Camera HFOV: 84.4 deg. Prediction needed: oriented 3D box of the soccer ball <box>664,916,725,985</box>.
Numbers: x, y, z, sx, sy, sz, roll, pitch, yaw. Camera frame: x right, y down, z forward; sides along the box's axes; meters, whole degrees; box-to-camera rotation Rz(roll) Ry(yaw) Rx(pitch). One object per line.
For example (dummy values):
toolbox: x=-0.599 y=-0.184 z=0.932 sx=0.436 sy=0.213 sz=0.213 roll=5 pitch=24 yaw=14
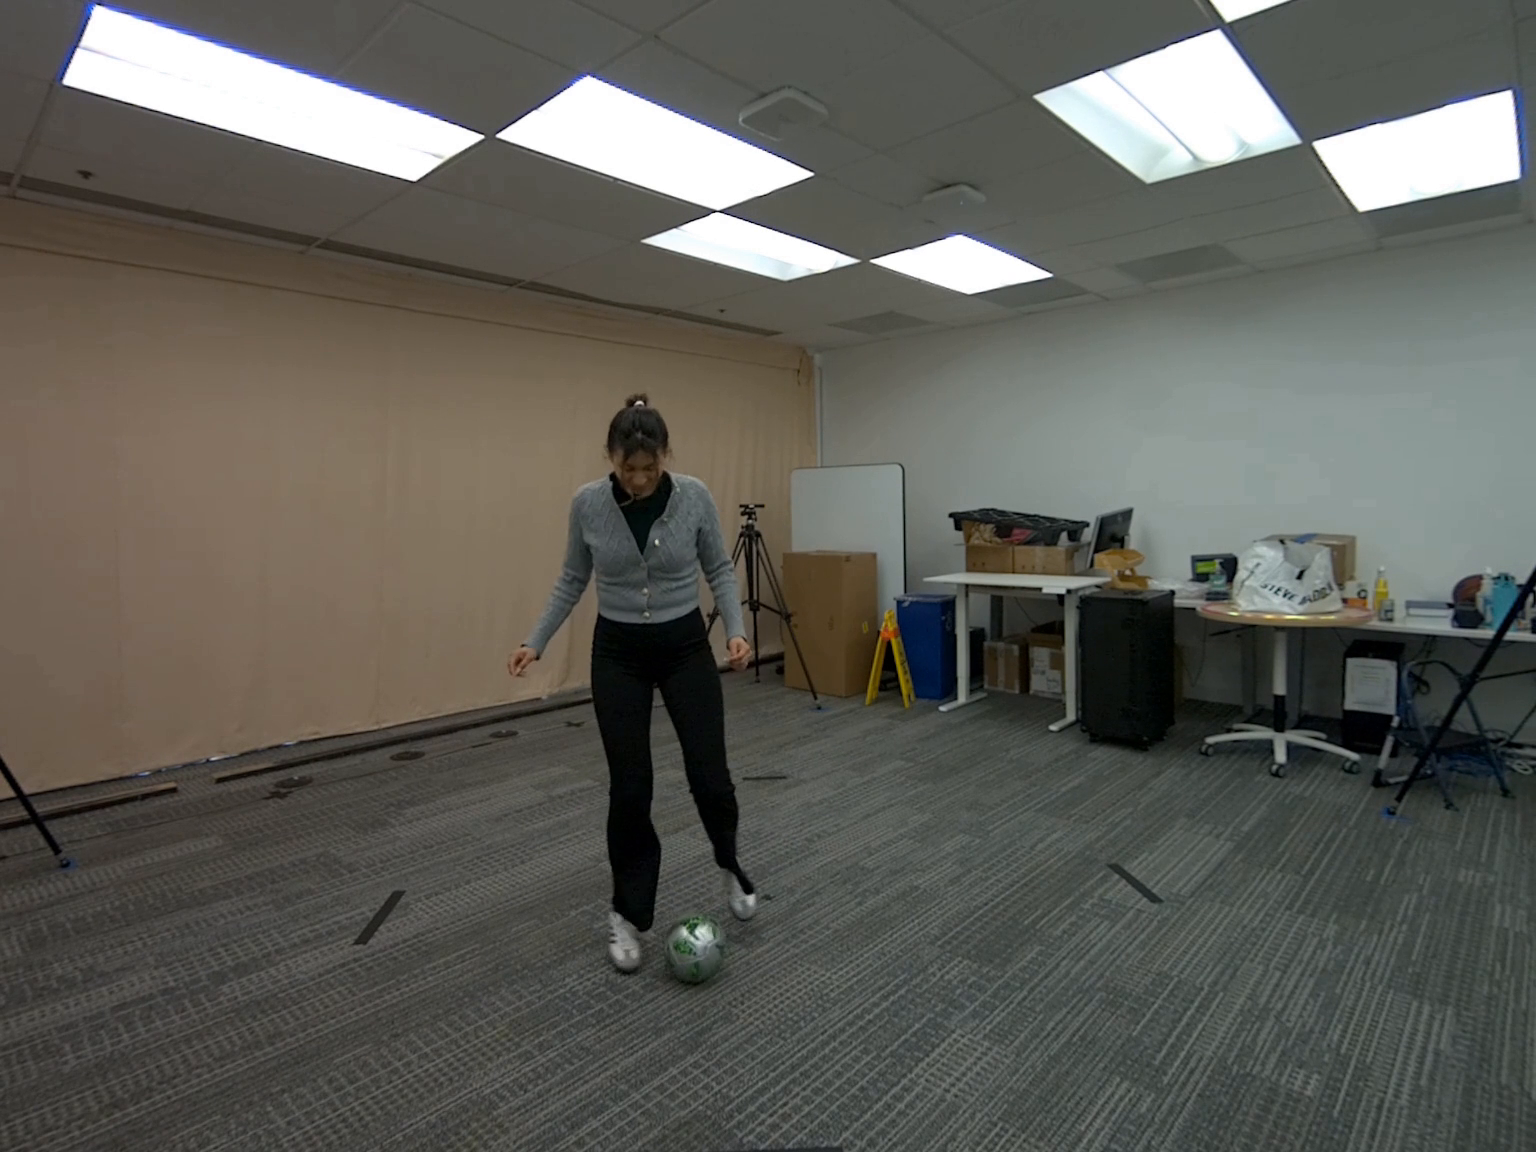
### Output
soccer ball: x=-0.211 y=1.091 z=2.480 sx=0.187 sy=0.187 sz=0.188 roll=-1 pitch=4 yaw=-2
